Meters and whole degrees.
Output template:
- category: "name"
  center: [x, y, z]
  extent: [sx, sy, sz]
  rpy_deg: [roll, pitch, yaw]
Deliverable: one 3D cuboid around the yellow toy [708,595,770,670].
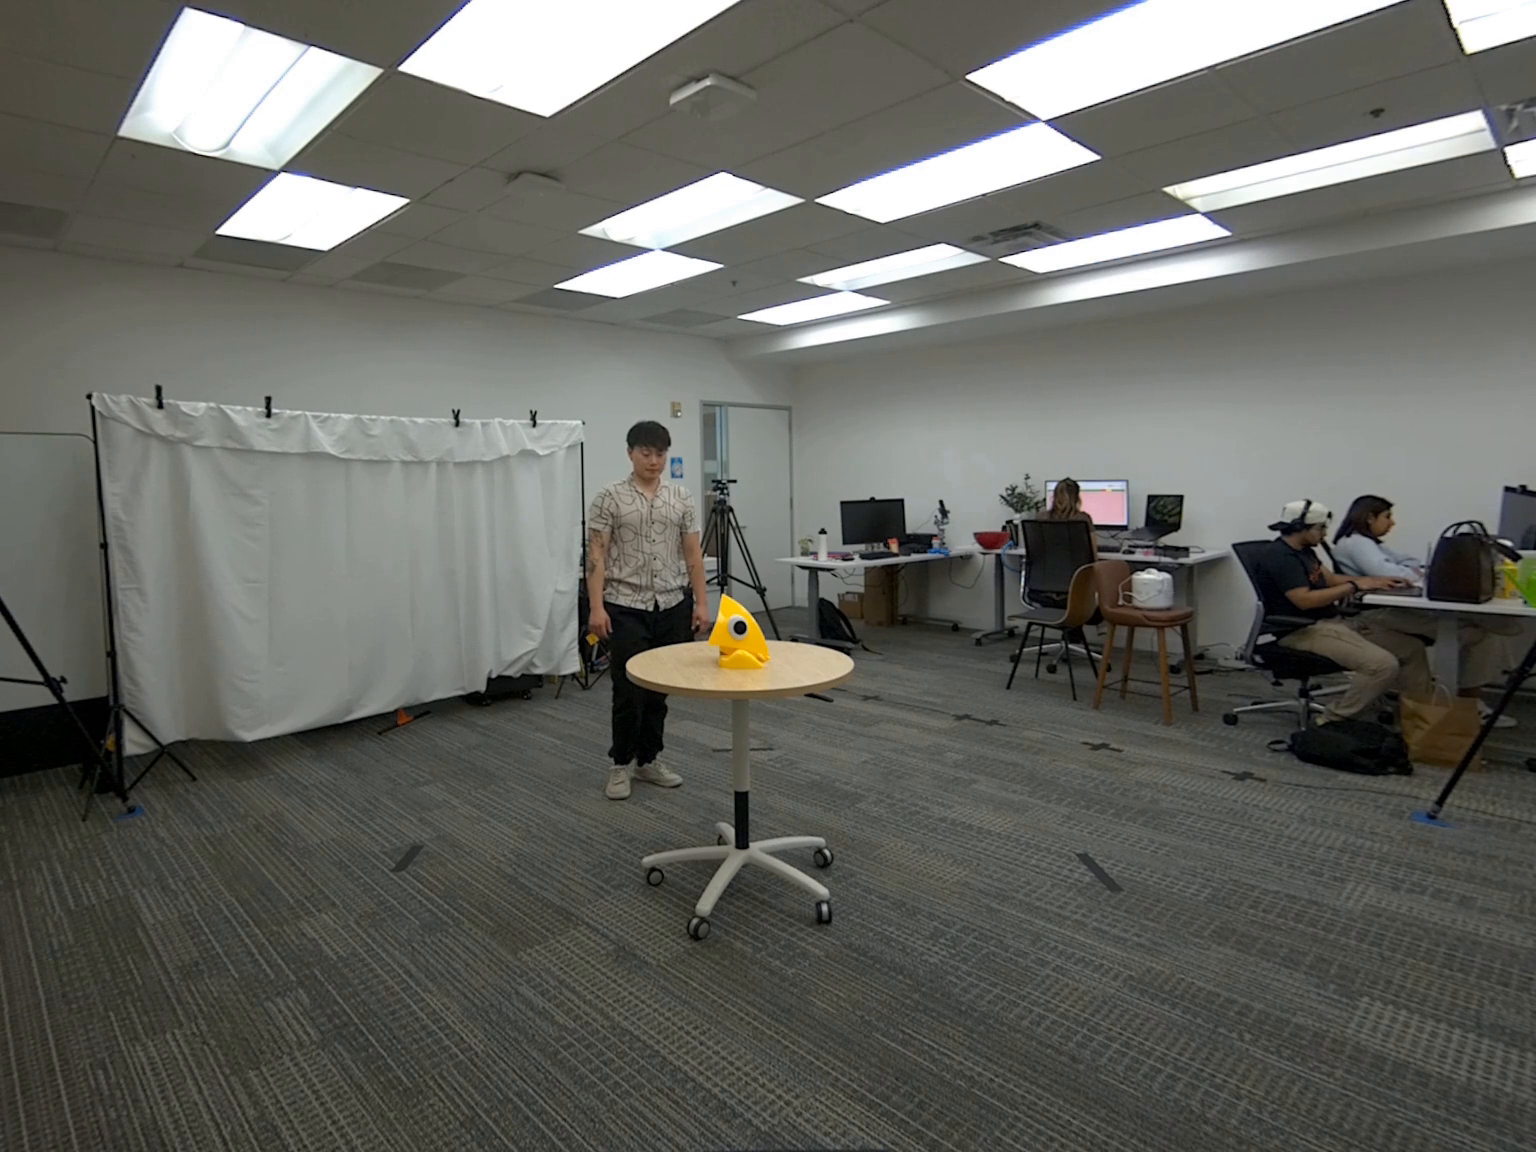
- category: "yellow toy"
  center: [-0.088, 0.178, 2.871]
  extent: [0.195, 0.230, 0.203]
  rpy_deg: [0, 5, 13]
